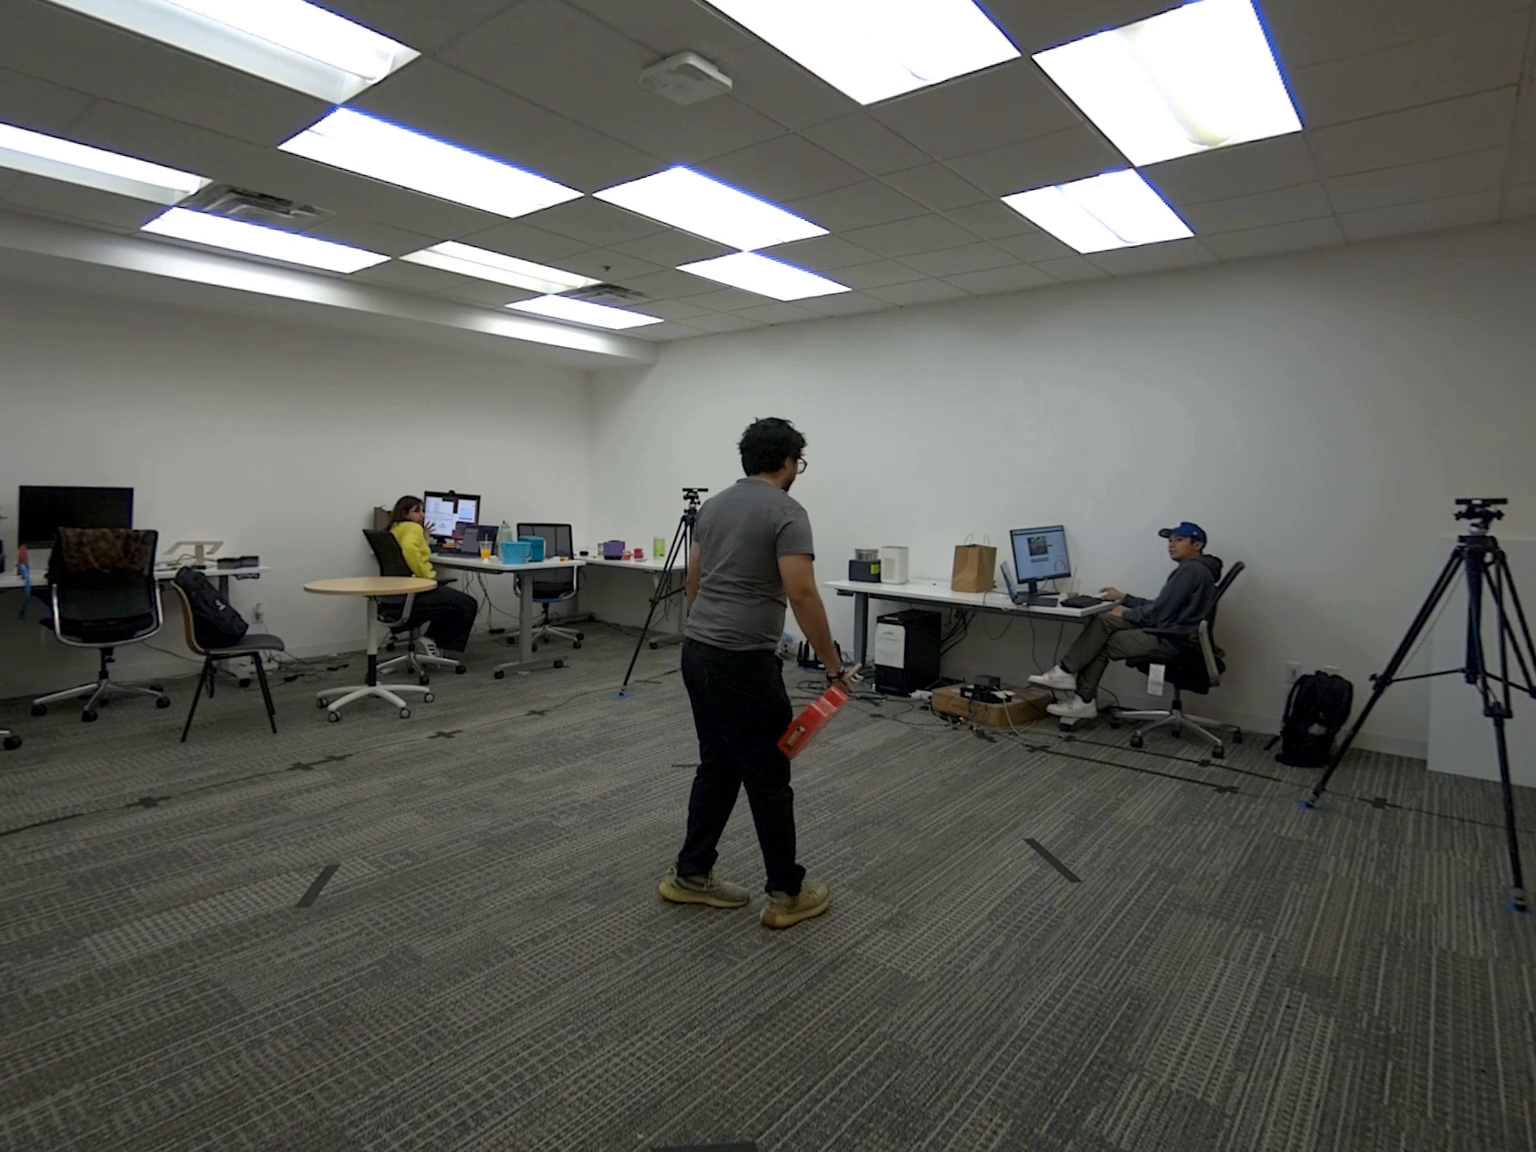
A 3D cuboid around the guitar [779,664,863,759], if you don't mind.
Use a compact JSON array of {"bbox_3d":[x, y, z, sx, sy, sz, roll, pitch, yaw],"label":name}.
[{"bbox_3d":[0.196,0.373,2.605,0.072,0.191,0.492,41,43,15],"label":"guitar"}]
